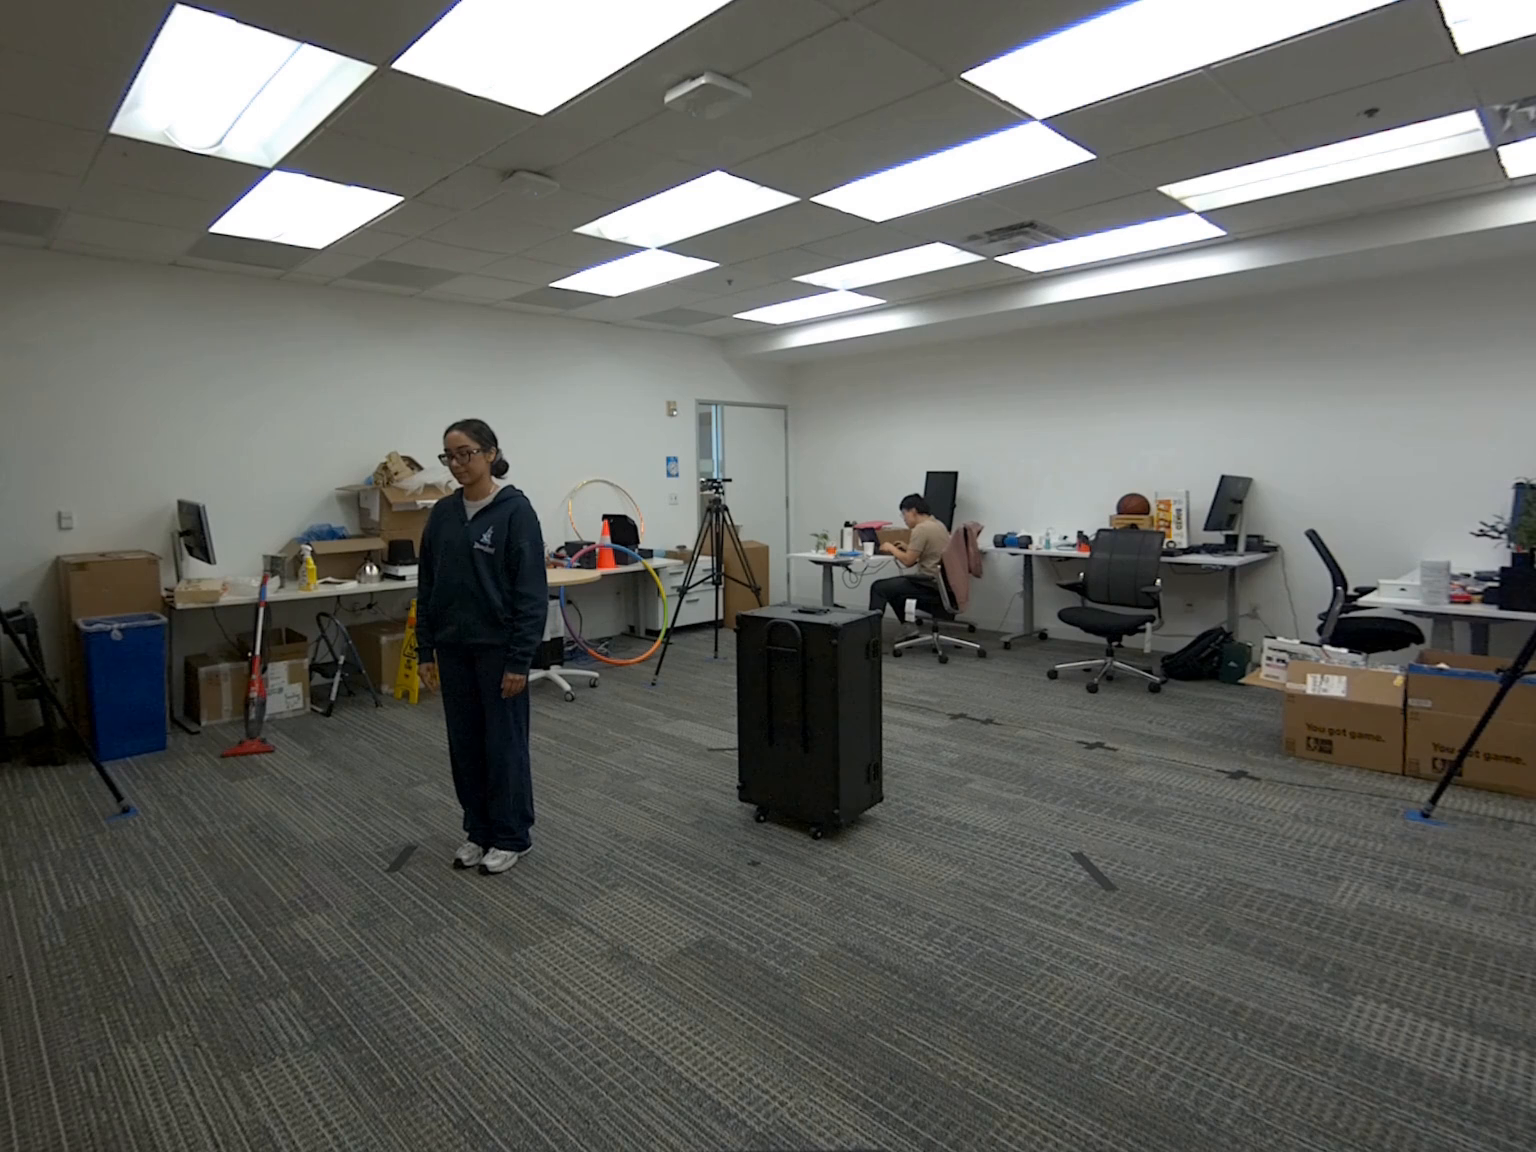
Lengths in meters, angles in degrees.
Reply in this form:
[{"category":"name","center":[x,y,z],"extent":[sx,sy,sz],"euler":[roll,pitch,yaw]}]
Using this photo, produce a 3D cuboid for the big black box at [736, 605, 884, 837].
[{"category":"big black box","center":[0.162,0.579,3.489],"extent":[0.408,0.858,0.508],"euler":[2,5,37]}]
